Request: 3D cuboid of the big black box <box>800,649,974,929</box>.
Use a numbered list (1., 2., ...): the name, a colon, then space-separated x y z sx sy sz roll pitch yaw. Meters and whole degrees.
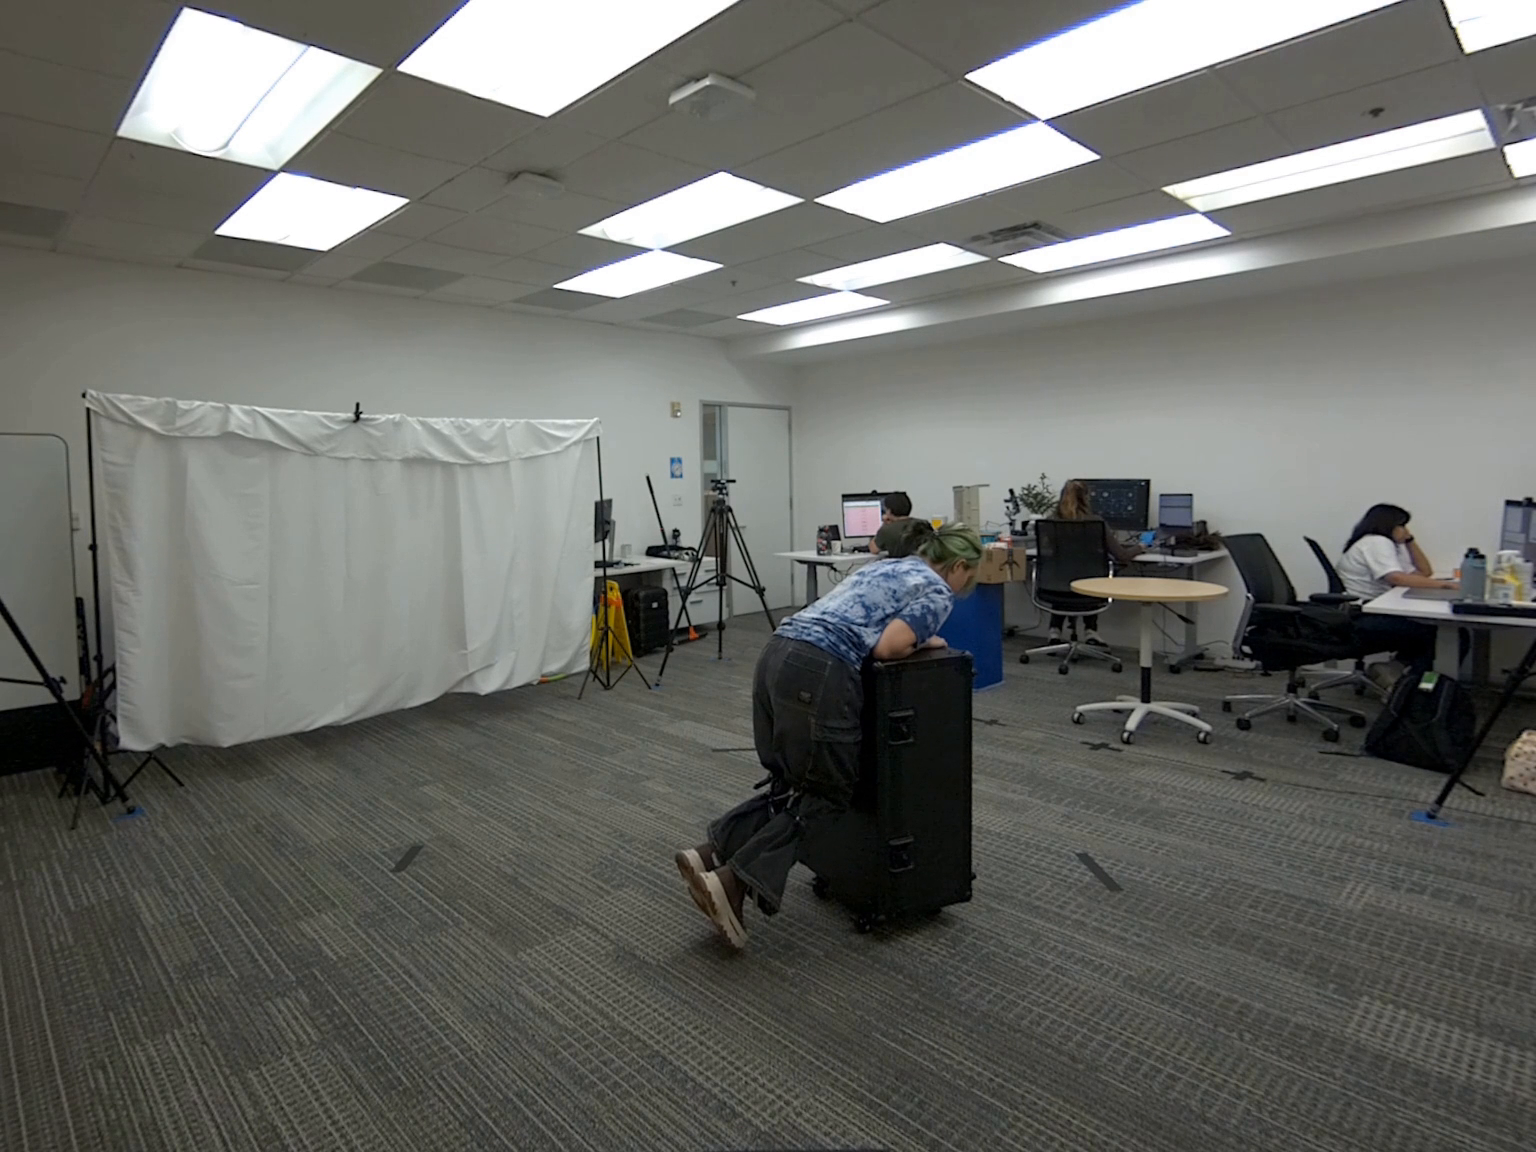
1. big black box: 0.384 0.598 2.798 0.388 0.858 0.534 -2 5 -26
